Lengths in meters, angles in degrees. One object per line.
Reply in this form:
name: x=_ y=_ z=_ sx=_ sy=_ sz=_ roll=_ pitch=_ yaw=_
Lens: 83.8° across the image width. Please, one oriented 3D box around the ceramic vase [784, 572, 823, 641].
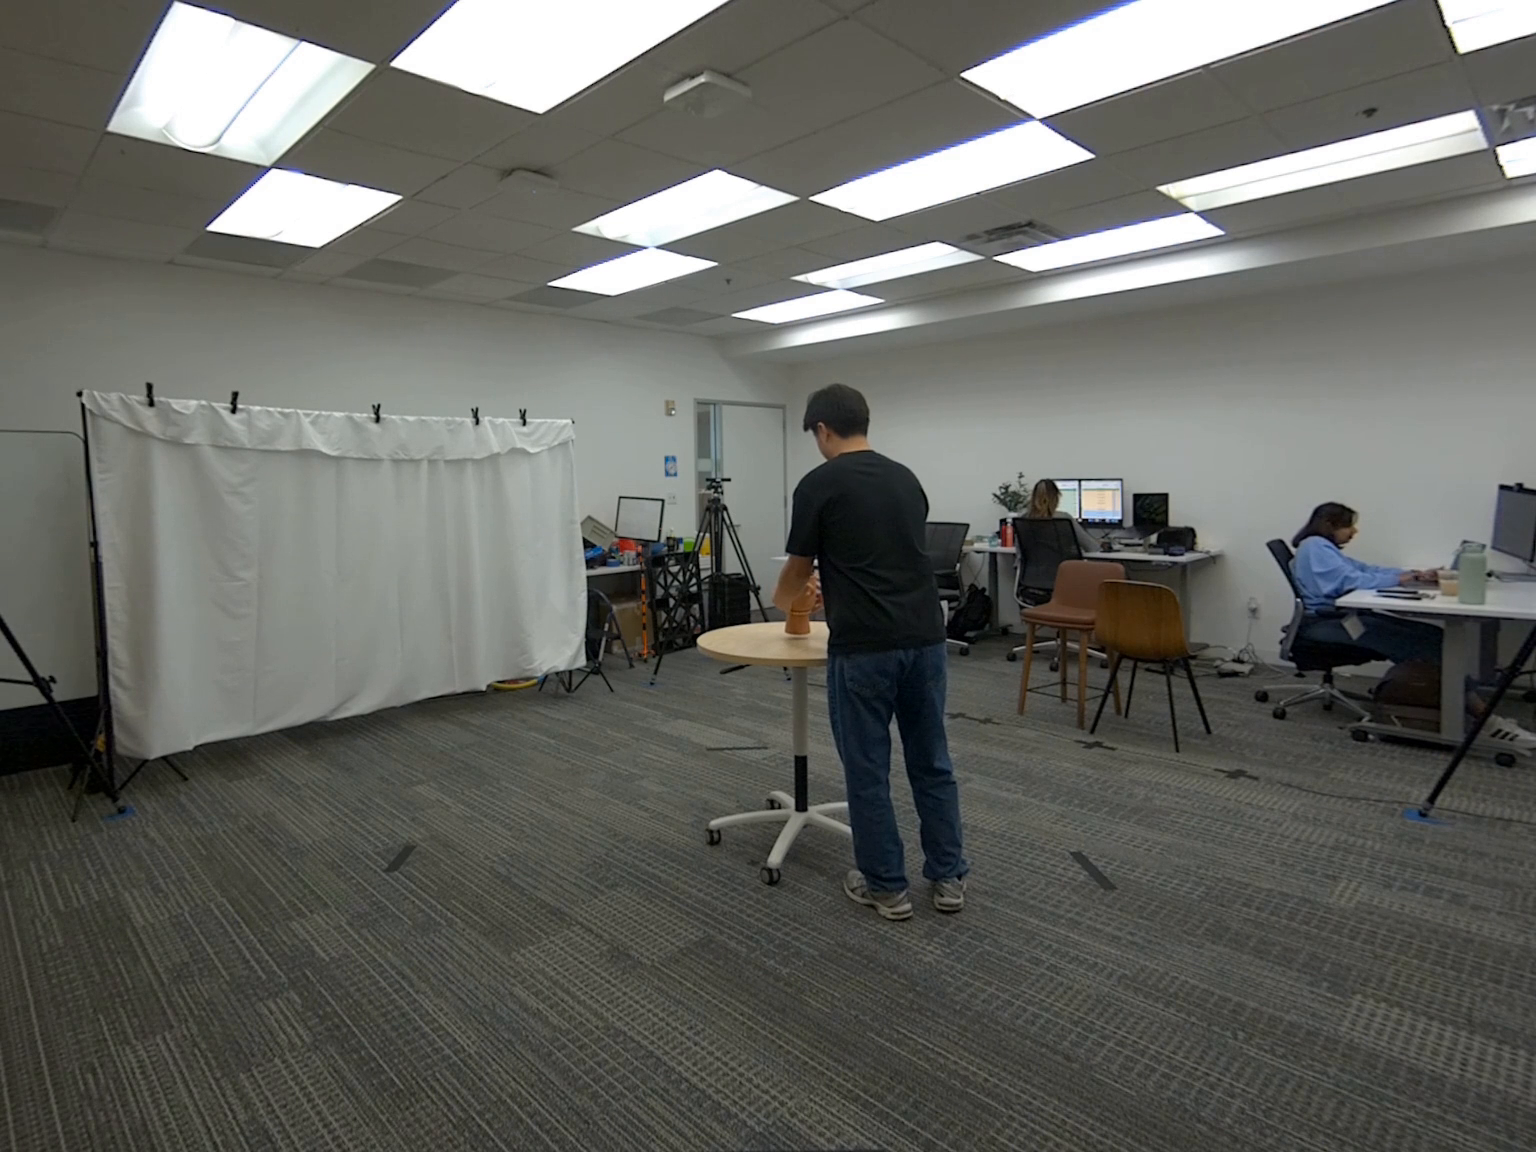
ceramic vase: x=0.123 y=0.104 z=3.191 sx=0.136 sy=0.218 sz=0.158 roll=2 pitch=8 yaw=8
